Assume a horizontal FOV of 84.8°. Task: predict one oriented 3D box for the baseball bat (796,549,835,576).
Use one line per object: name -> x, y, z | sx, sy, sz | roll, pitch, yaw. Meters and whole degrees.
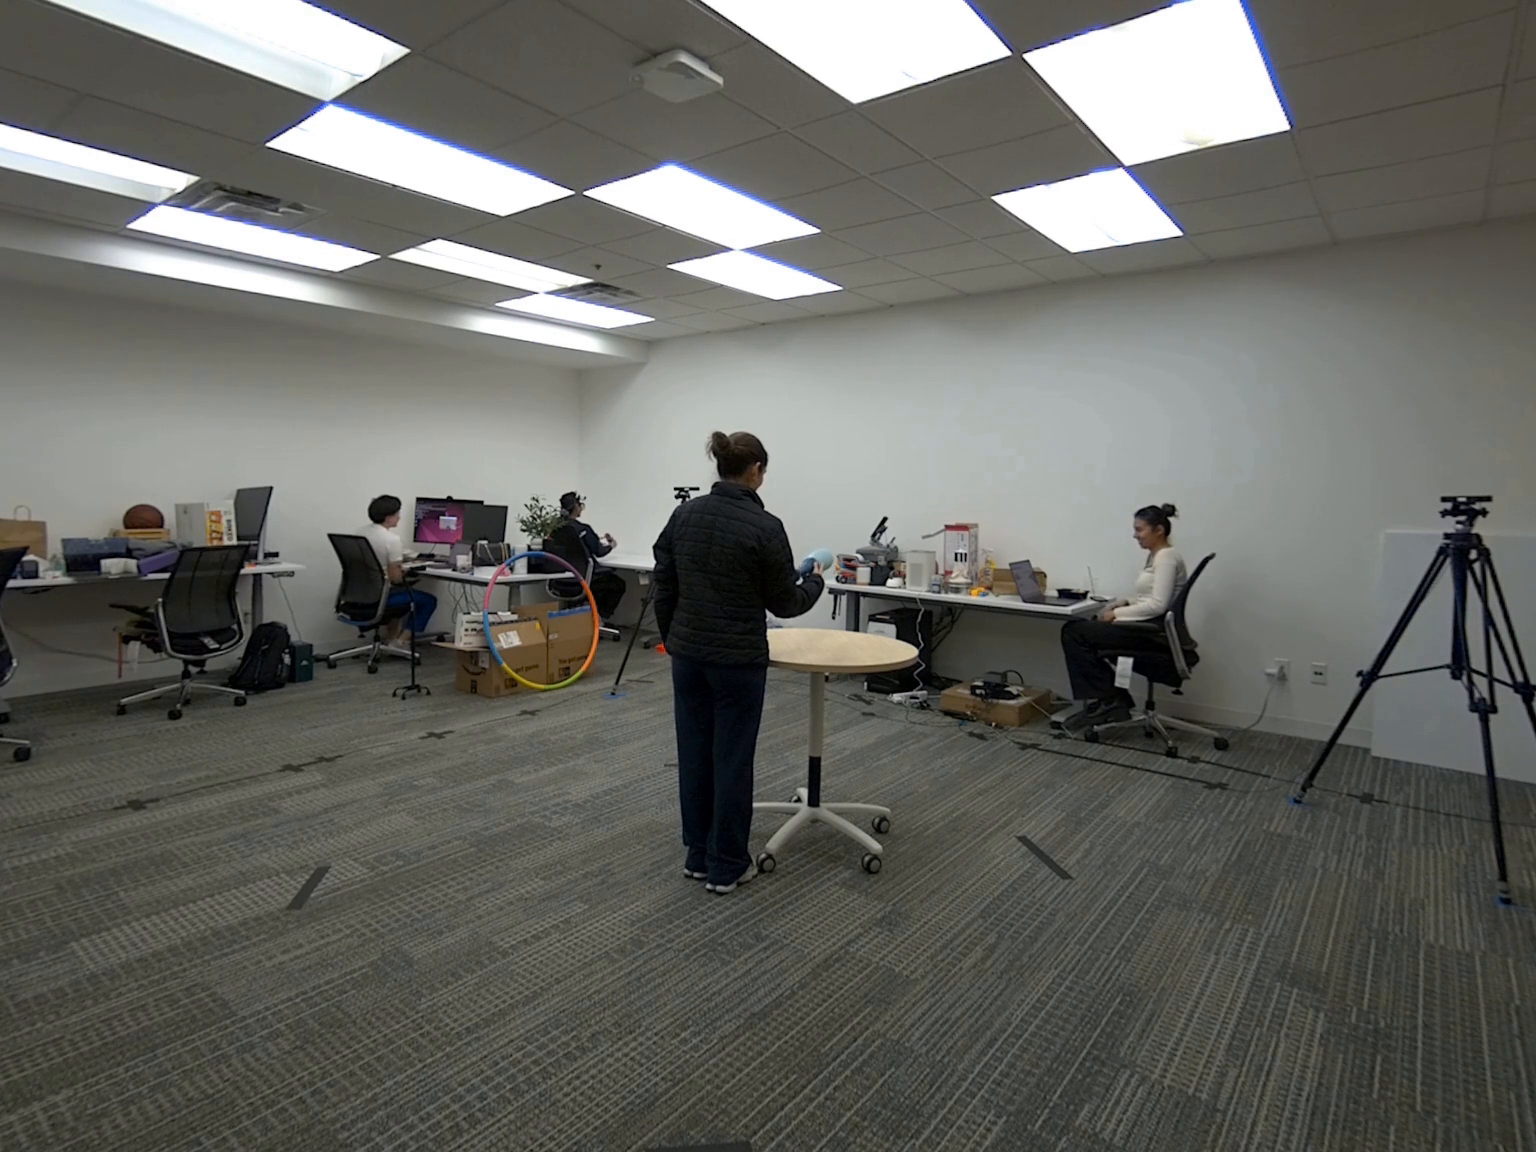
baseball bat -> 0.176, -0.037, 3.268 | 0.090, 0.088, 0.537 | 2, 9, 15
